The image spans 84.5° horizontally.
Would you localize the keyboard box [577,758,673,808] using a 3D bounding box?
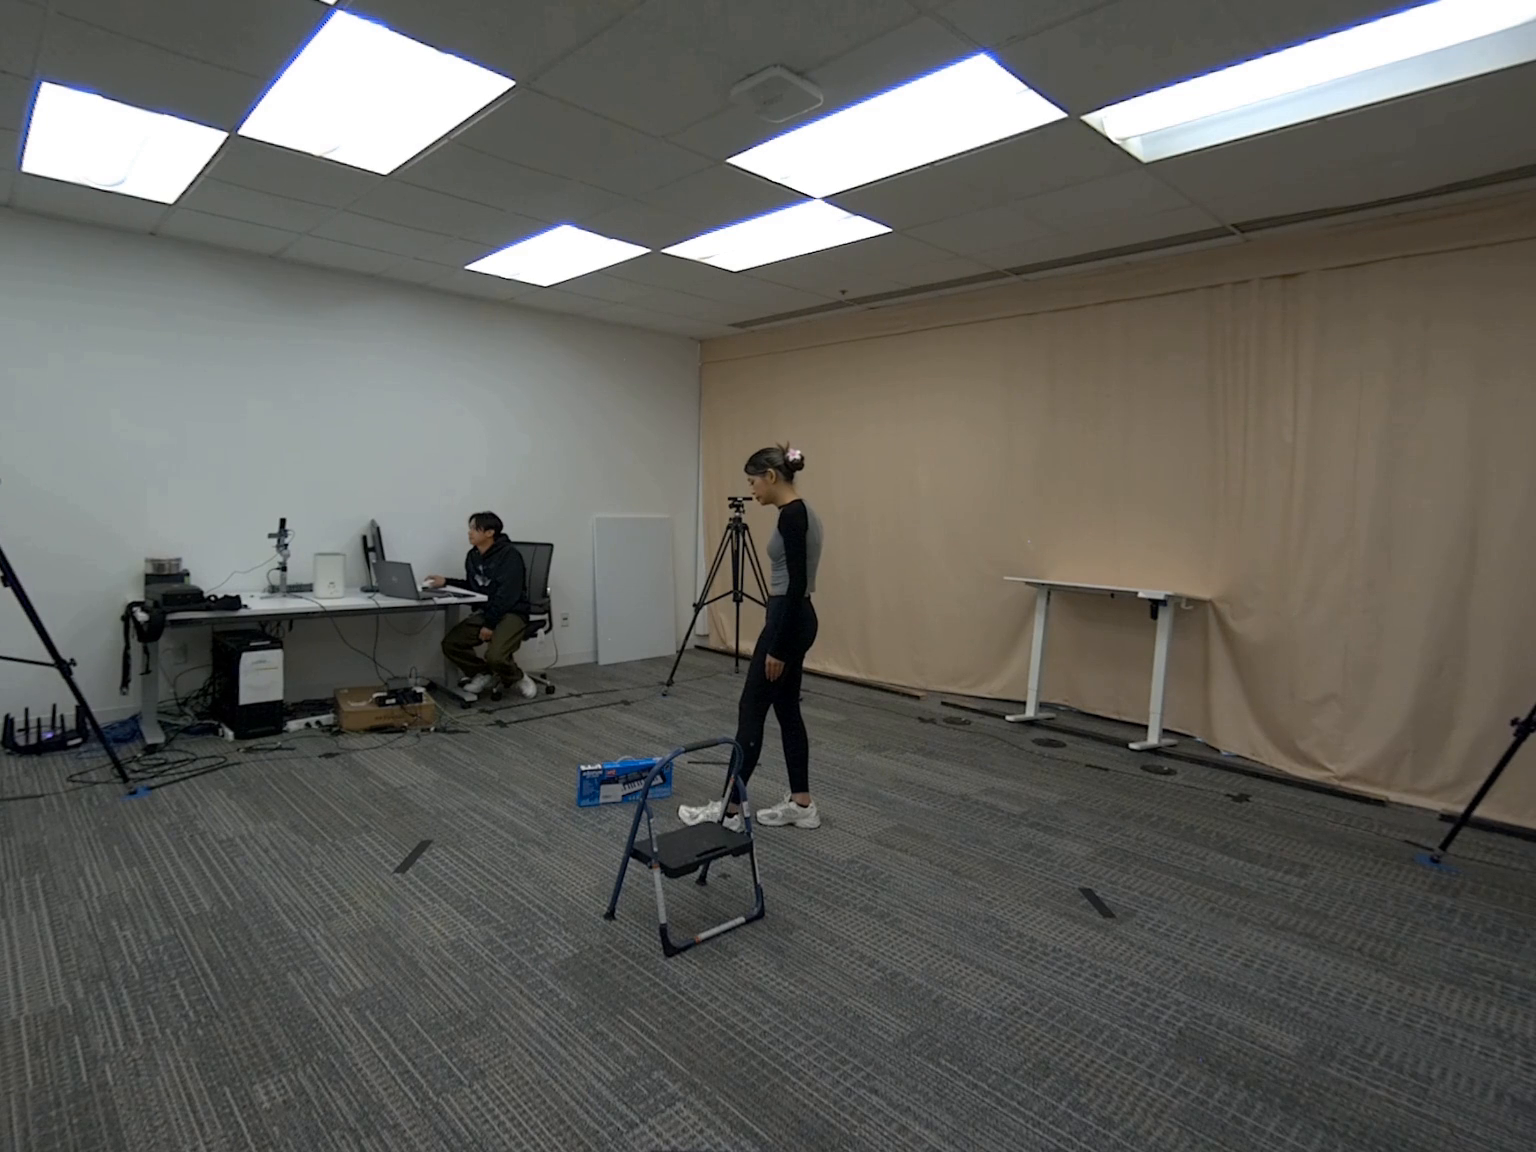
[{"bbox_3d":[-0.667,0.945,3.860,0.429,0.175,0.060,0,8,-24],"label":"keyboard box"}]
